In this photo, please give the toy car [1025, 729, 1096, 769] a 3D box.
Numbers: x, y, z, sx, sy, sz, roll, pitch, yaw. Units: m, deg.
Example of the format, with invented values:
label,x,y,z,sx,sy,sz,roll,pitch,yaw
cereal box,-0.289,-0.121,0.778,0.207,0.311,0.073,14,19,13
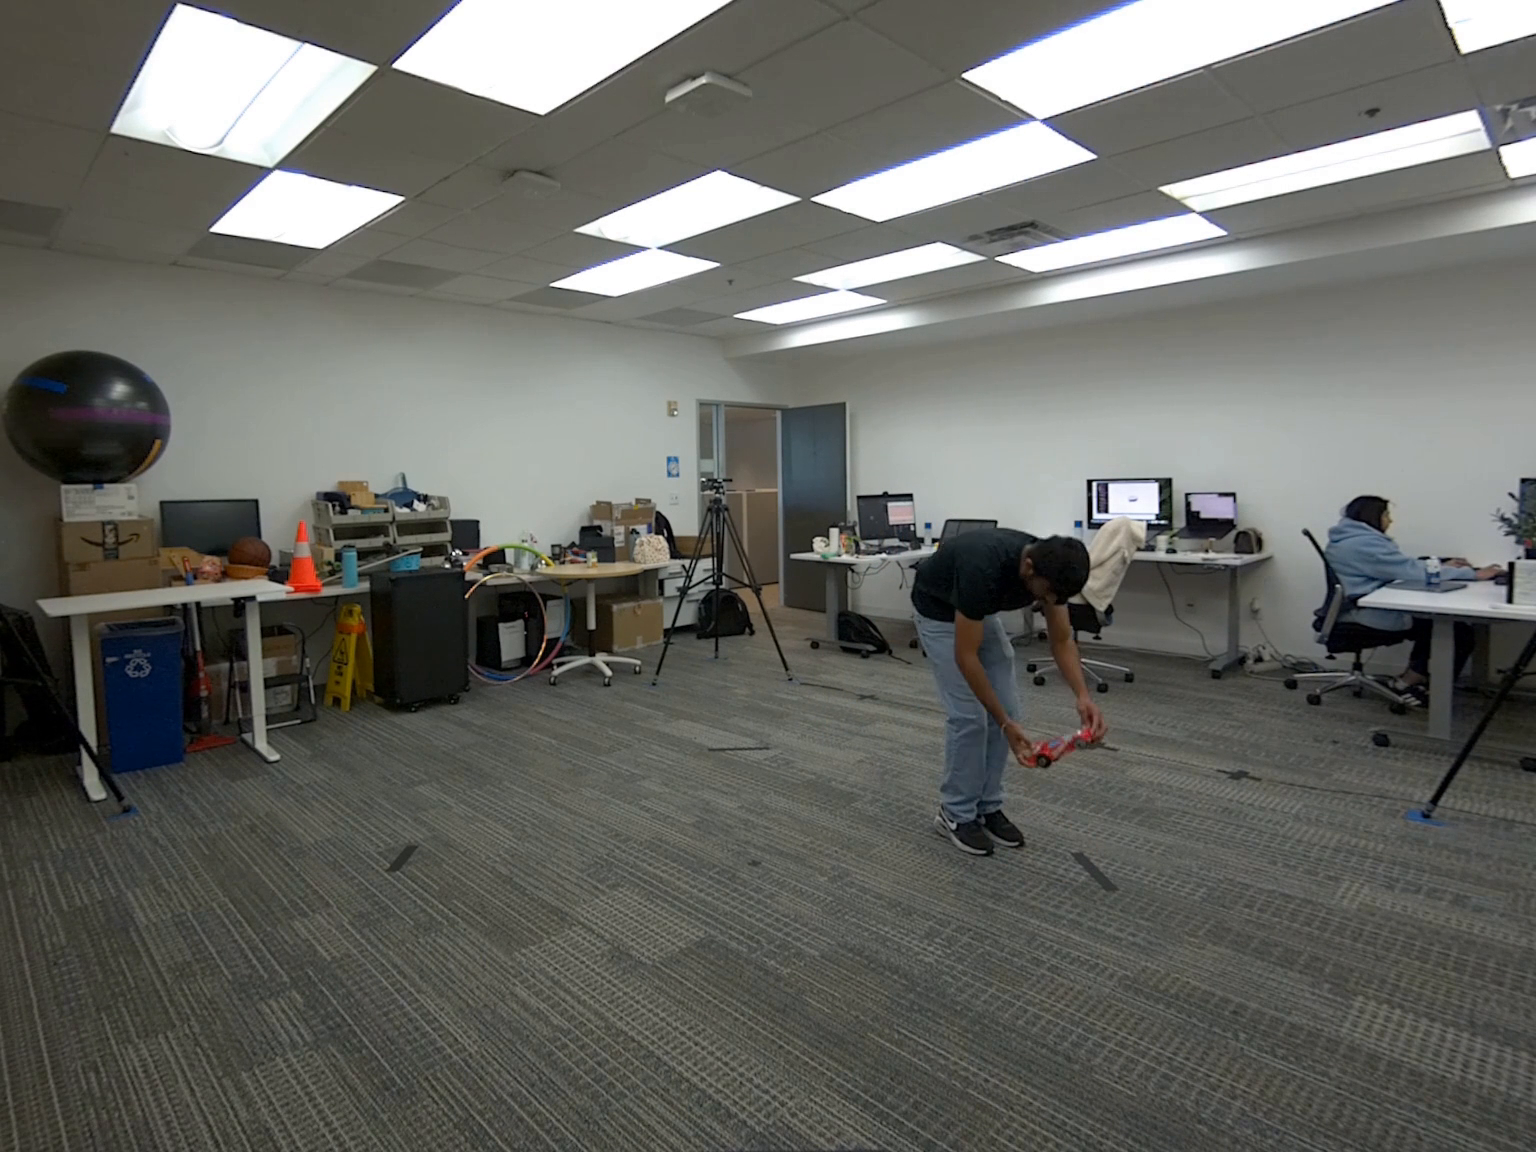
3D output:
label,x,y,z,sx,sy,sz,roll,pitch,yaw
toy car,0.994,0.613,2.917,0.258,0.083,0.128,1,0,15
